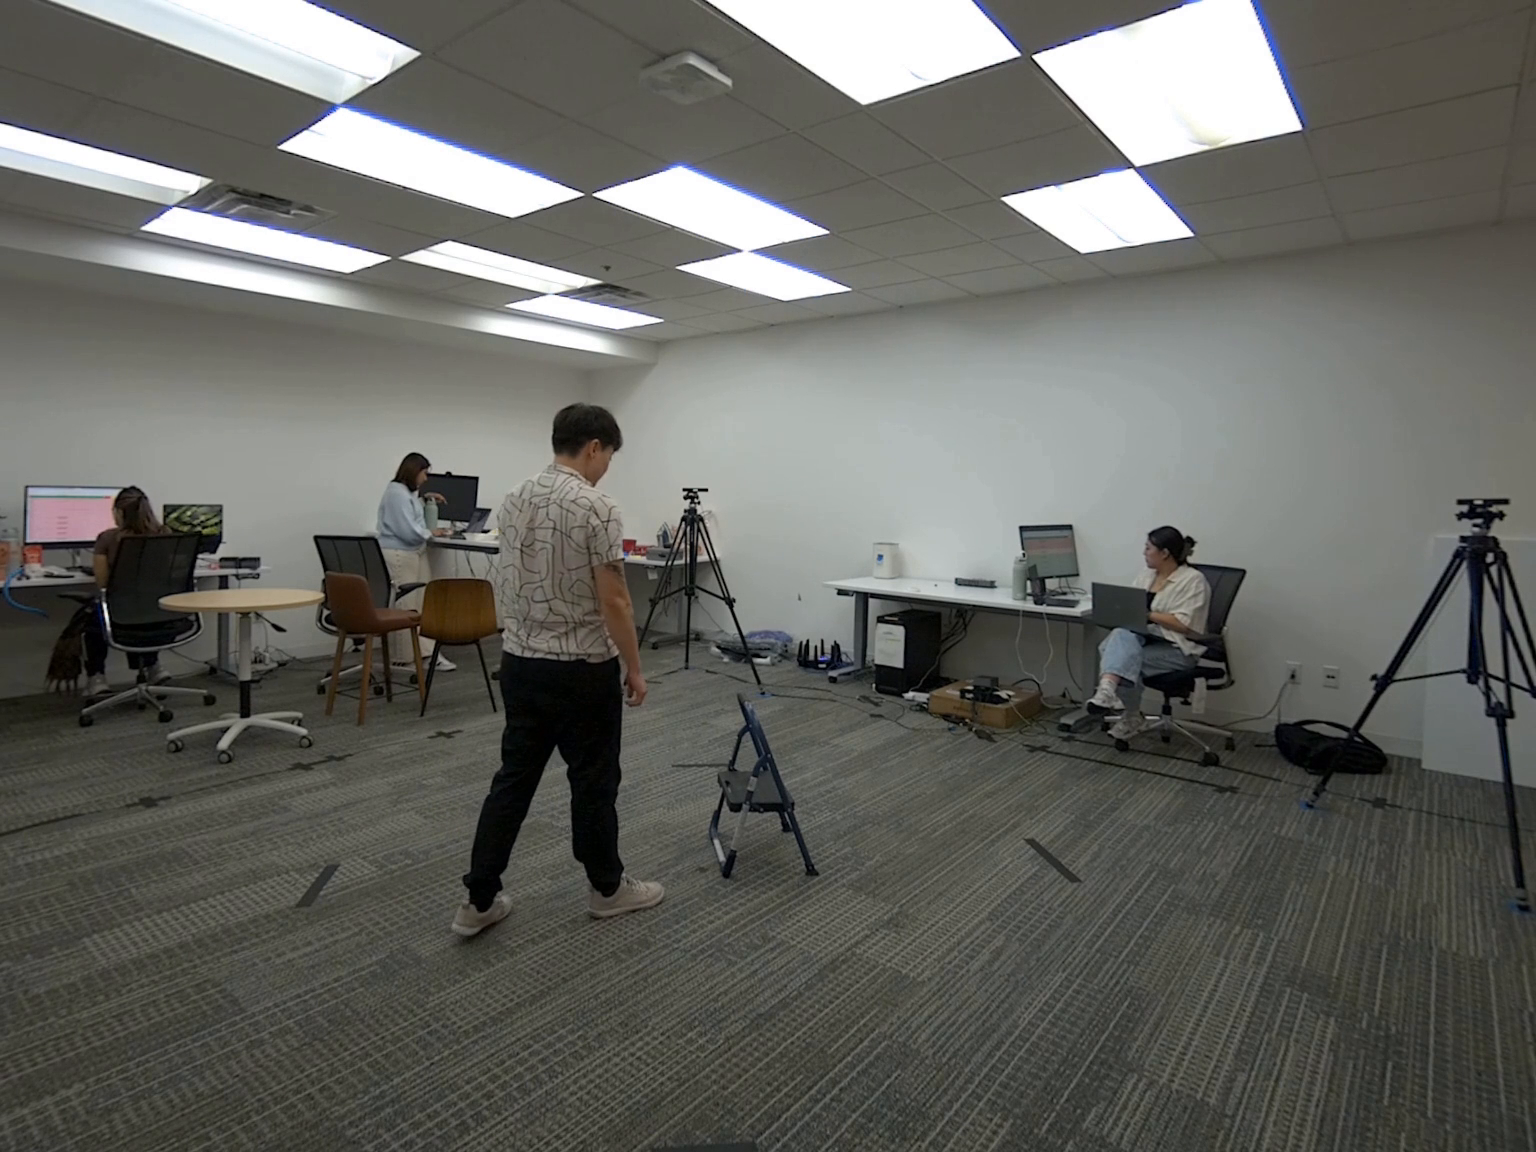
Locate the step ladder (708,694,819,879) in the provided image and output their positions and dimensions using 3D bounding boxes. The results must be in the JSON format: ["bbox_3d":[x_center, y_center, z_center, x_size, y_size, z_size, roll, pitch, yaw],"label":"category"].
[{"bbox_3d":[-0.035,0.758,3.251,0.345,0.604,0.437,1,3,-11],"label":"step ladder"}]
